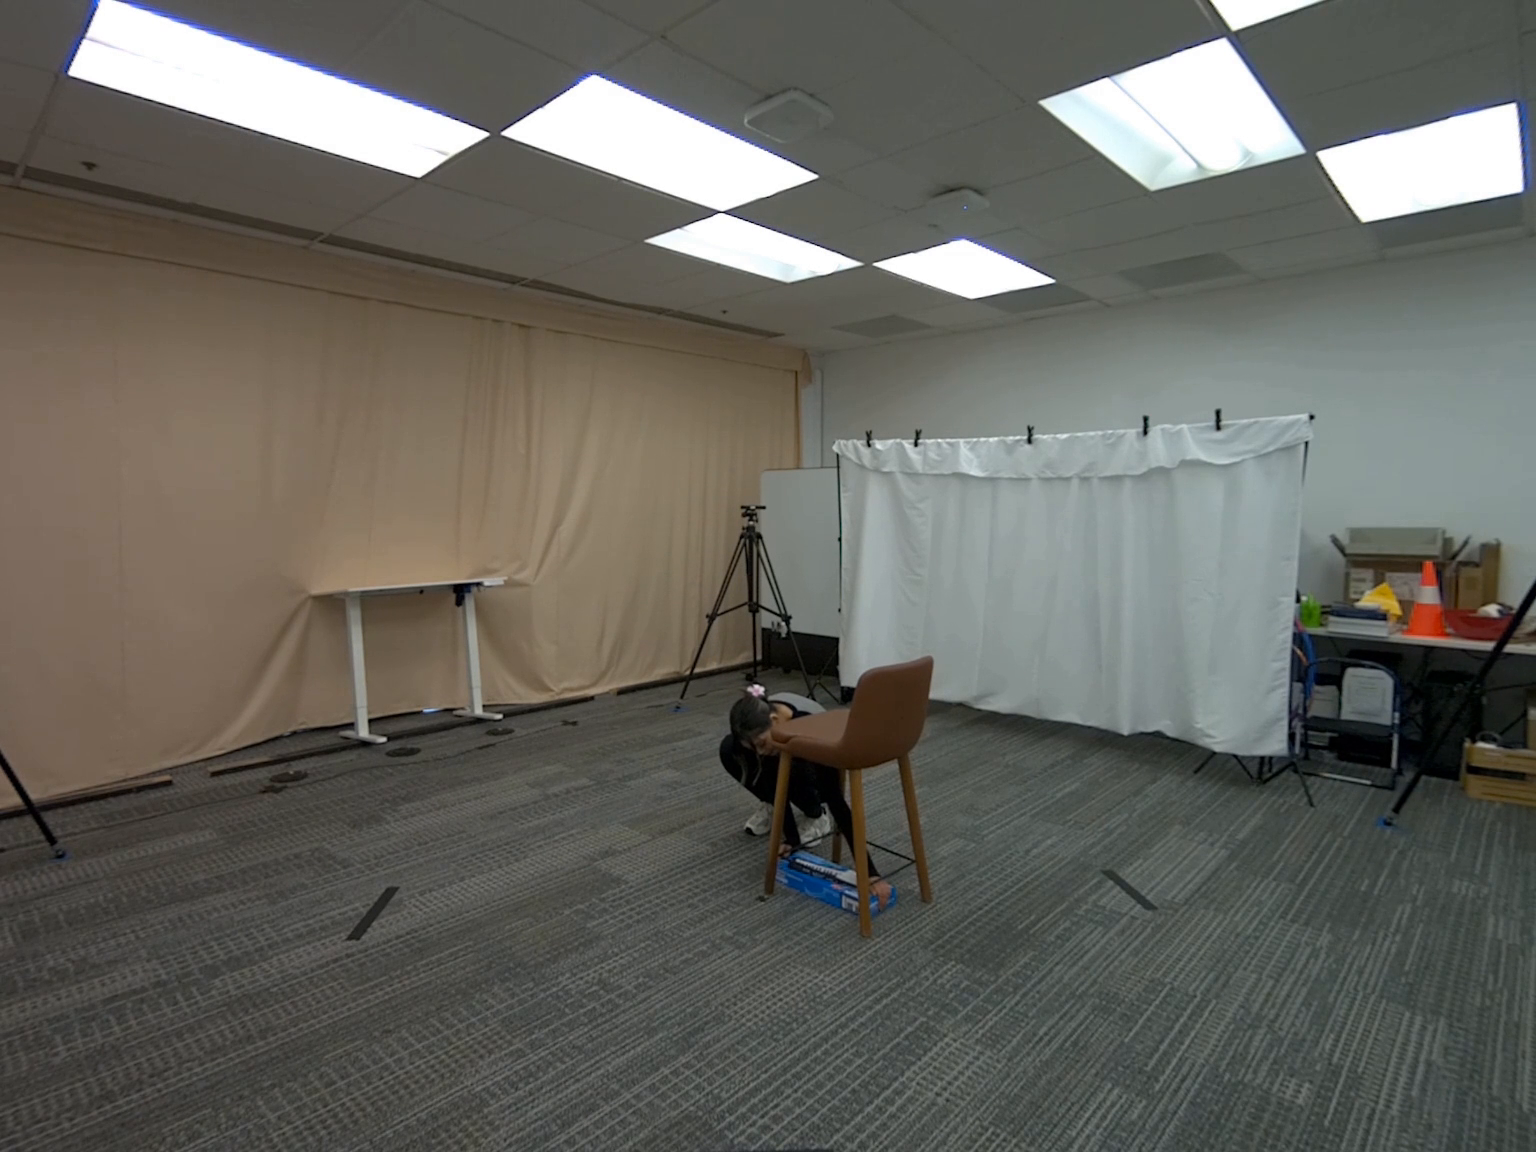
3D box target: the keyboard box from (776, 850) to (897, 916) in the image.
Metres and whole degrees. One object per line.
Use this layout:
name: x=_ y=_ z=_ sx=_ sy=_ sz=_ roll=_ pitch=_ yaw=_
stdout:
keyboard box: x=0.232 y=1.101 z=3.048 sx=0.170 sy=0.059 sz=0.452 roll=-4 pitch=7 yaw=-44
